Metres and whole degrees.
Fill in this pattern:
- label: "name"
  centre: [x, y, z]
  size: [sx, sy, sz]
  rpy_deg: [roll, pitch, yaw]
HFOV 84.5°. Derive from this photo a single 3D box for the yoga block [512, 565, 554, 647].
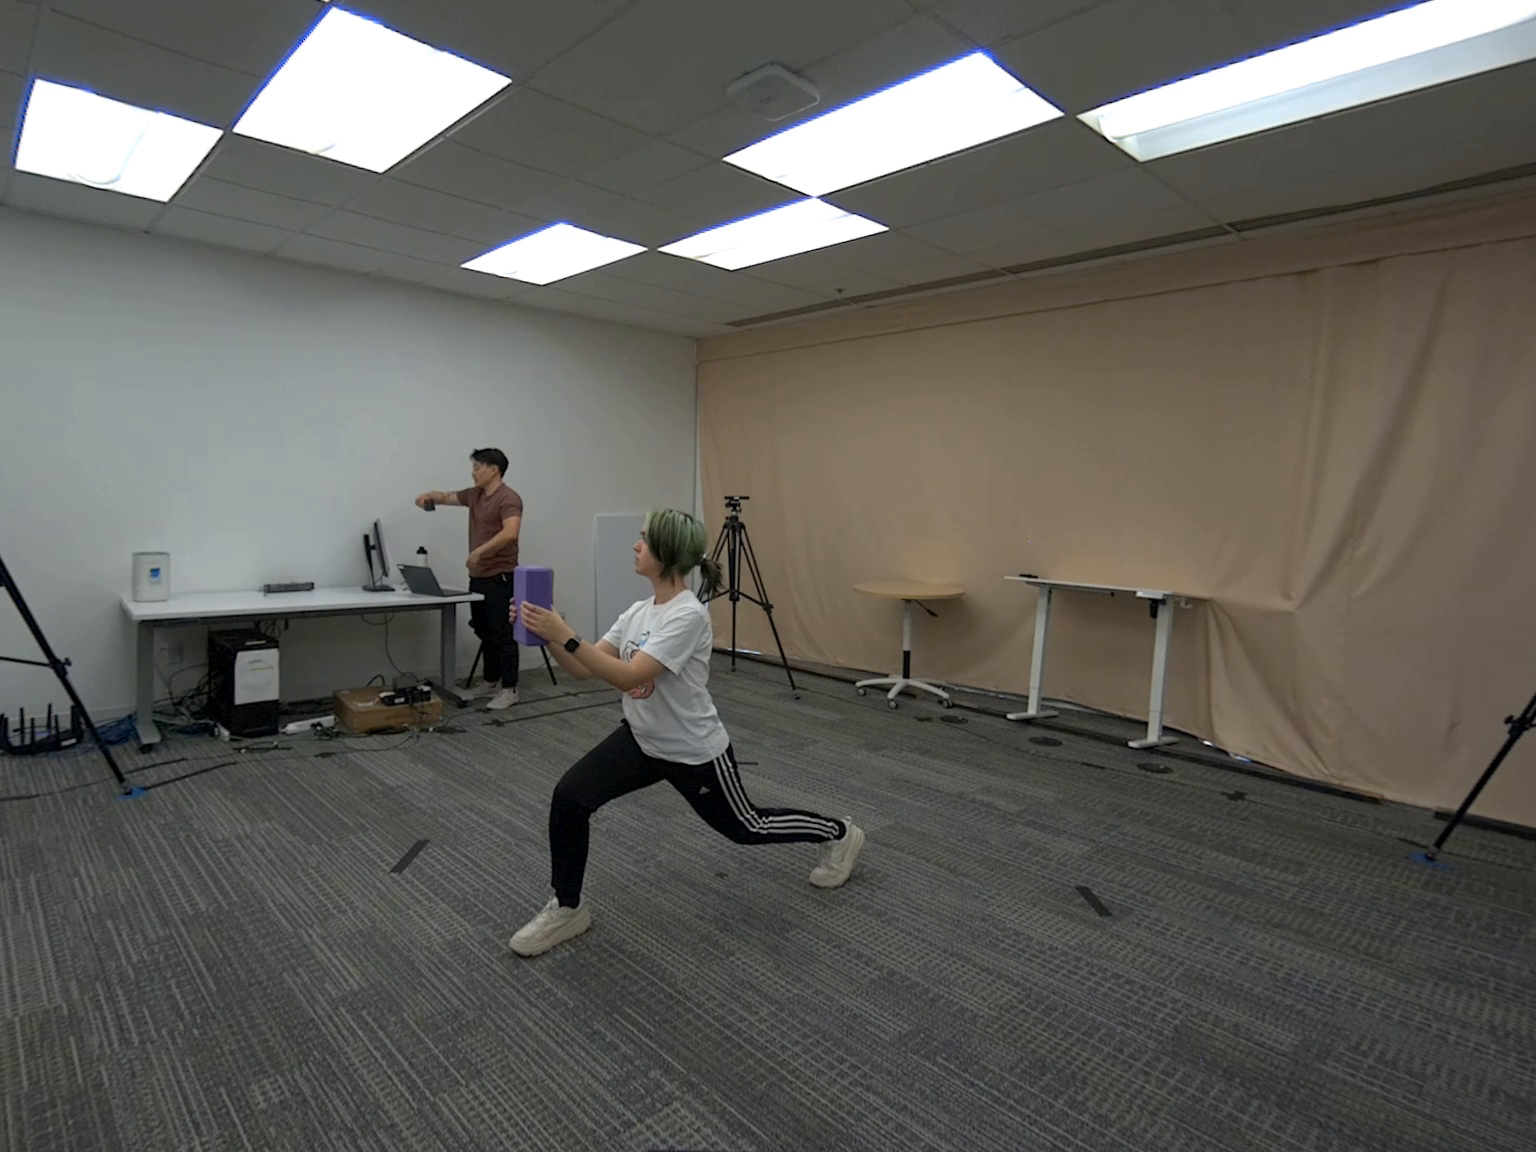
- label: "yoga block"
  centre: [-0.716, 0.090, 2.522]
  size: [0.075, 0.229, 0.152]
  rpy_deg: [-1, 2, -31]
